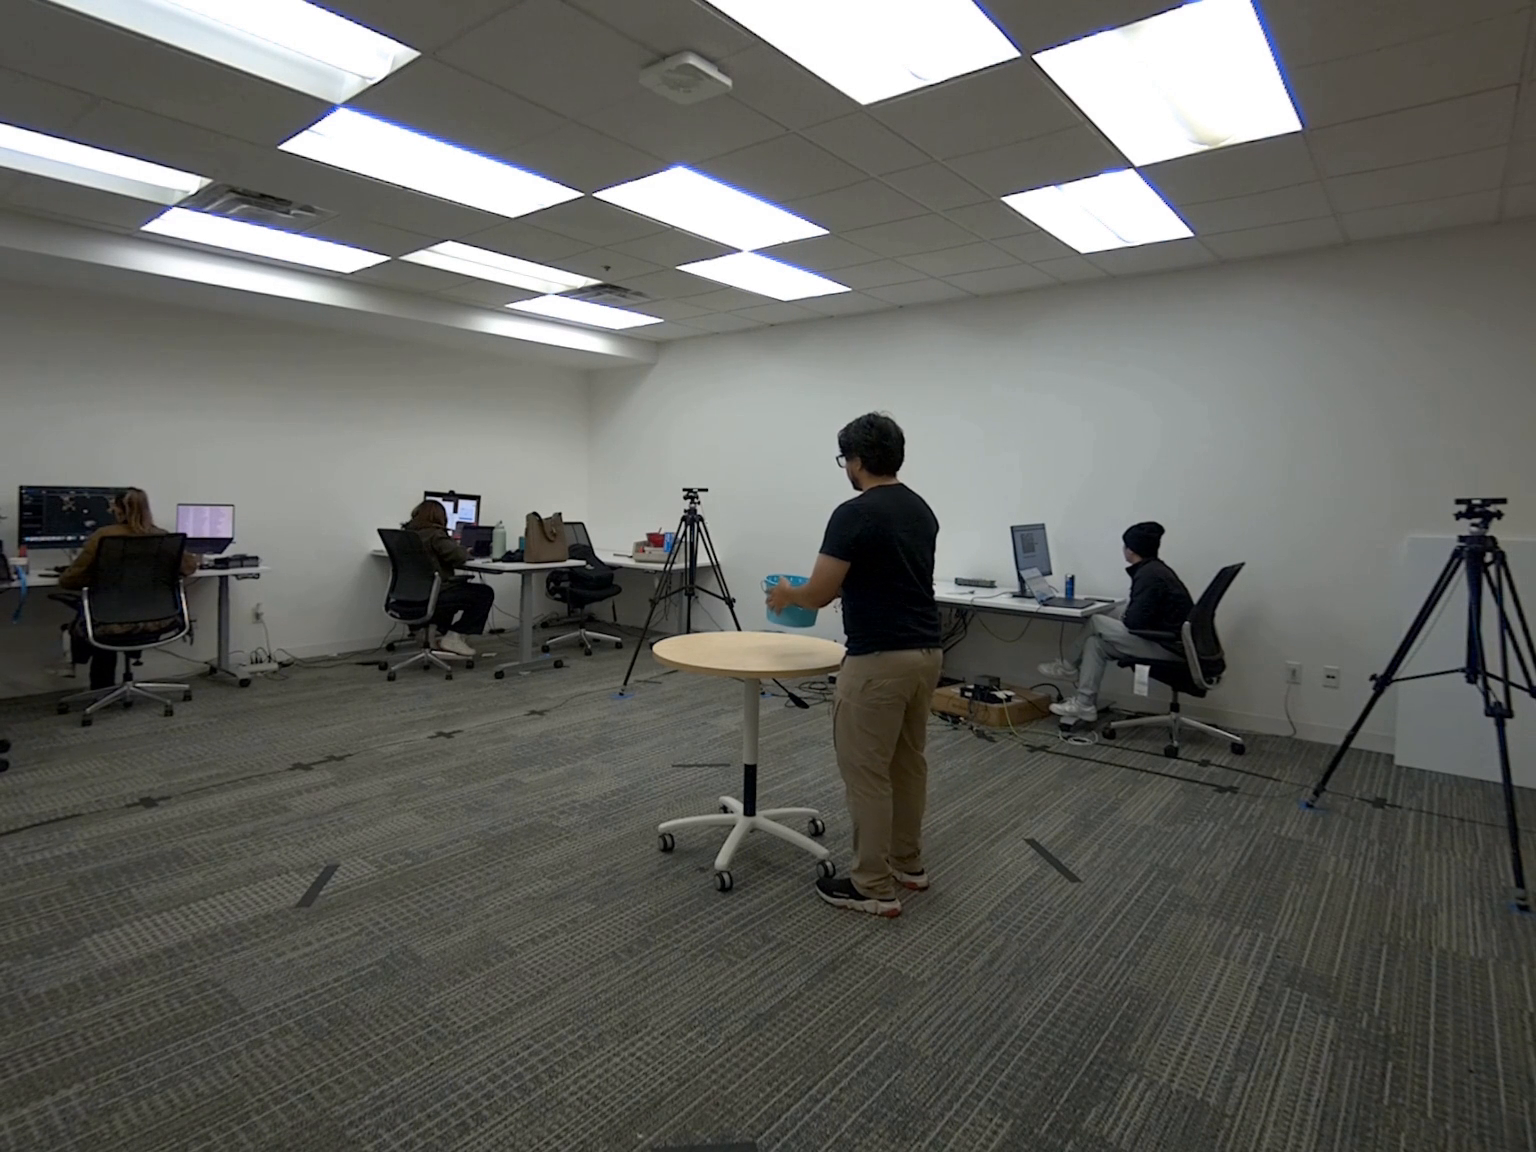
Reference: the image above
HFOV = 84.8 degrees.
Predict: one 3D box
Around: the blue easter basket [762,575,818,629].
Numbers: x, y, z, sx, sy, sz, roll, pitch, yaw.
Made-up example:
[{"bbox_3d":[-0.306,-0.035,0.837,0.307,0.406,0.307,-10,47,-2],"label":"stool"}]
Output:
[{"bbox_3d":[0.103,0.090,3.161,0.243,0.155,0.246,5,9,-3],"label":"blue easter basket"}]
